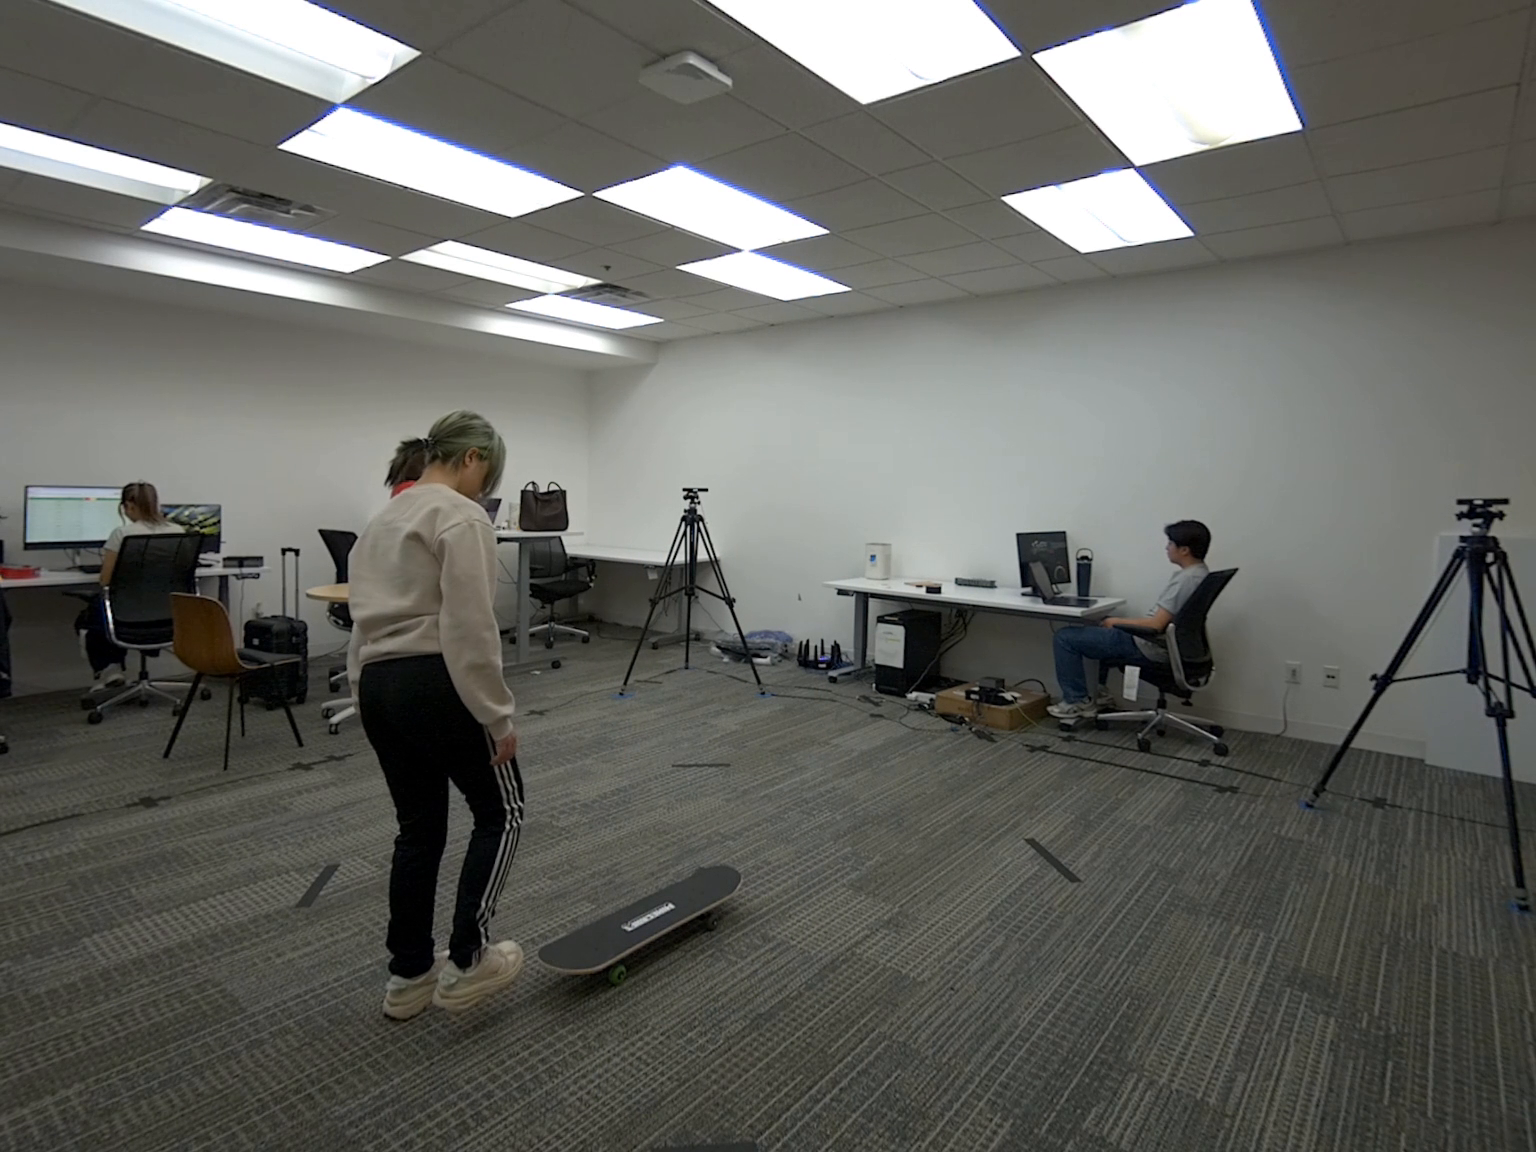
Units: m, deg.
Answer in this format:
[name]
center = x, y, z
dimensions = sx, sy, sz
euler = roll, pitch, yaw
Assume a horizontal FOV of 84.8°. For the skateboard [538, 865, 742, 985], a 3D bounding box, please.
[skateboard]
center = -0.364, 1.065, 2.582
dimensions = 0.200, 0.110, 0.763
euler = 4, 7, 39
